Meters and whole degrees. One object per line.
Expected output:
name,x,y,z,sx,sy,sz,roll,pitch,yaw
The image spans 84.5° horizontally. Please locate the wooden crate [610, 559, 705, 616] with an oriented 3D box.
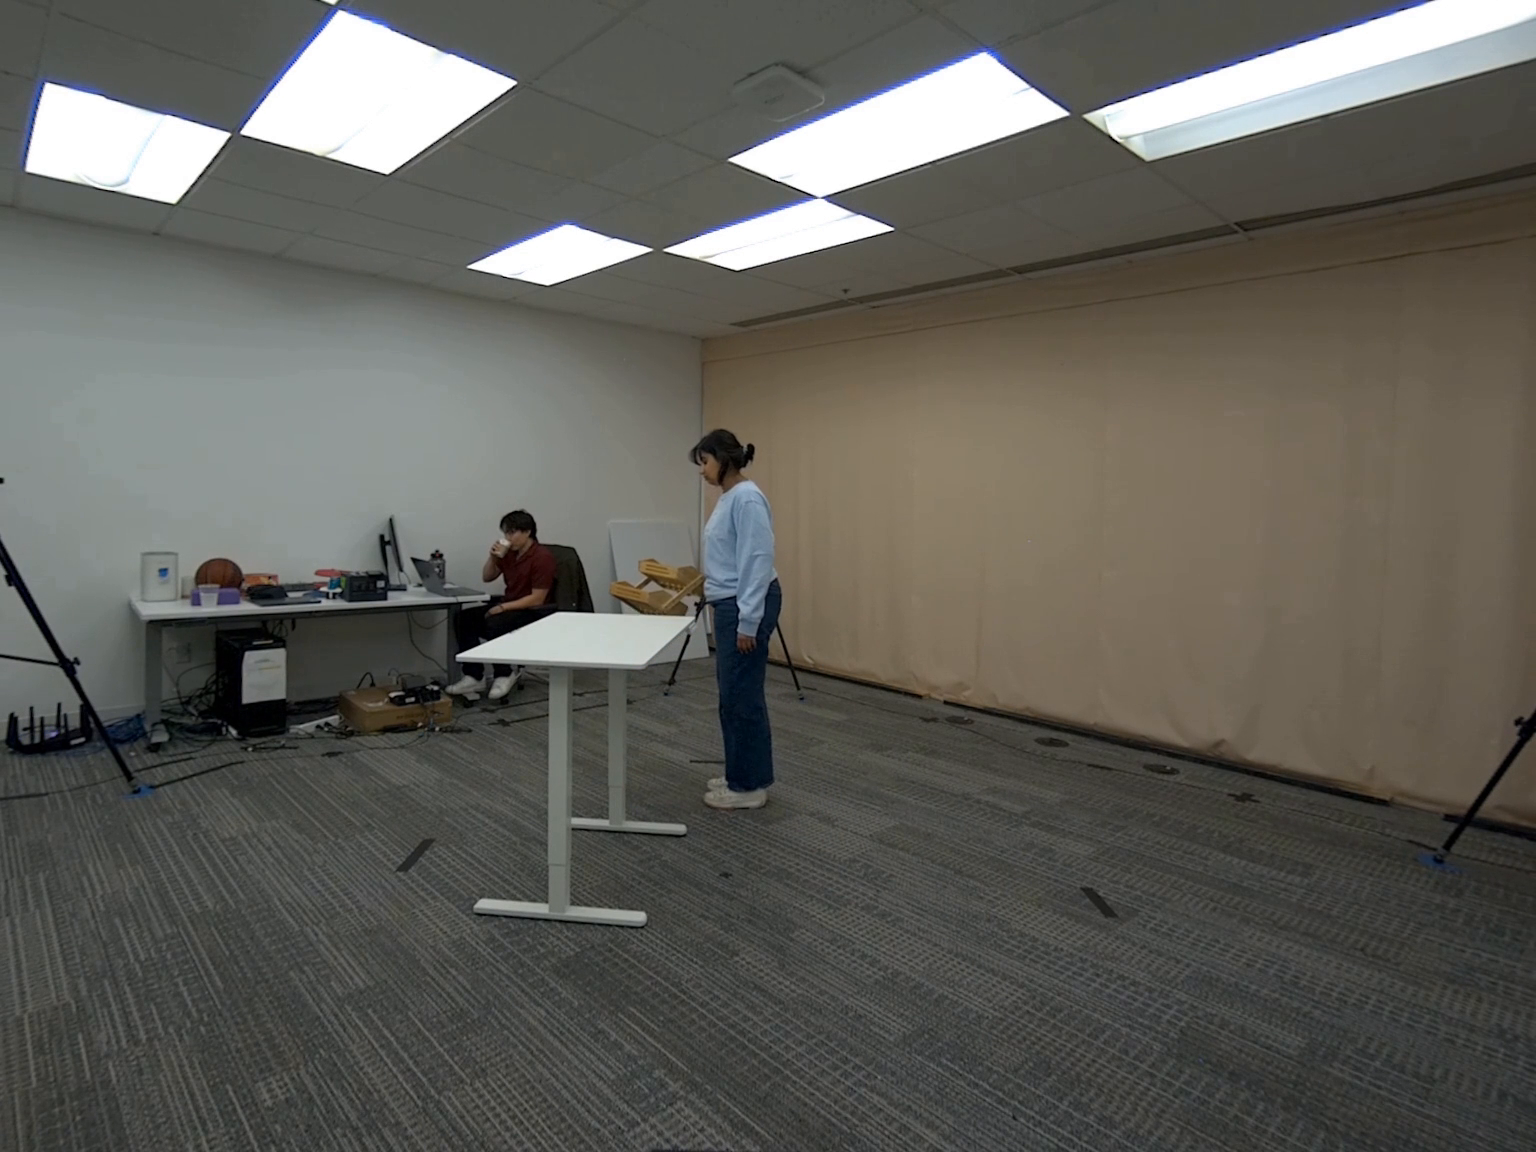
wooden crate,-0.518,0.043,3.978,0.333,0.274,0.292,10,-21,45
